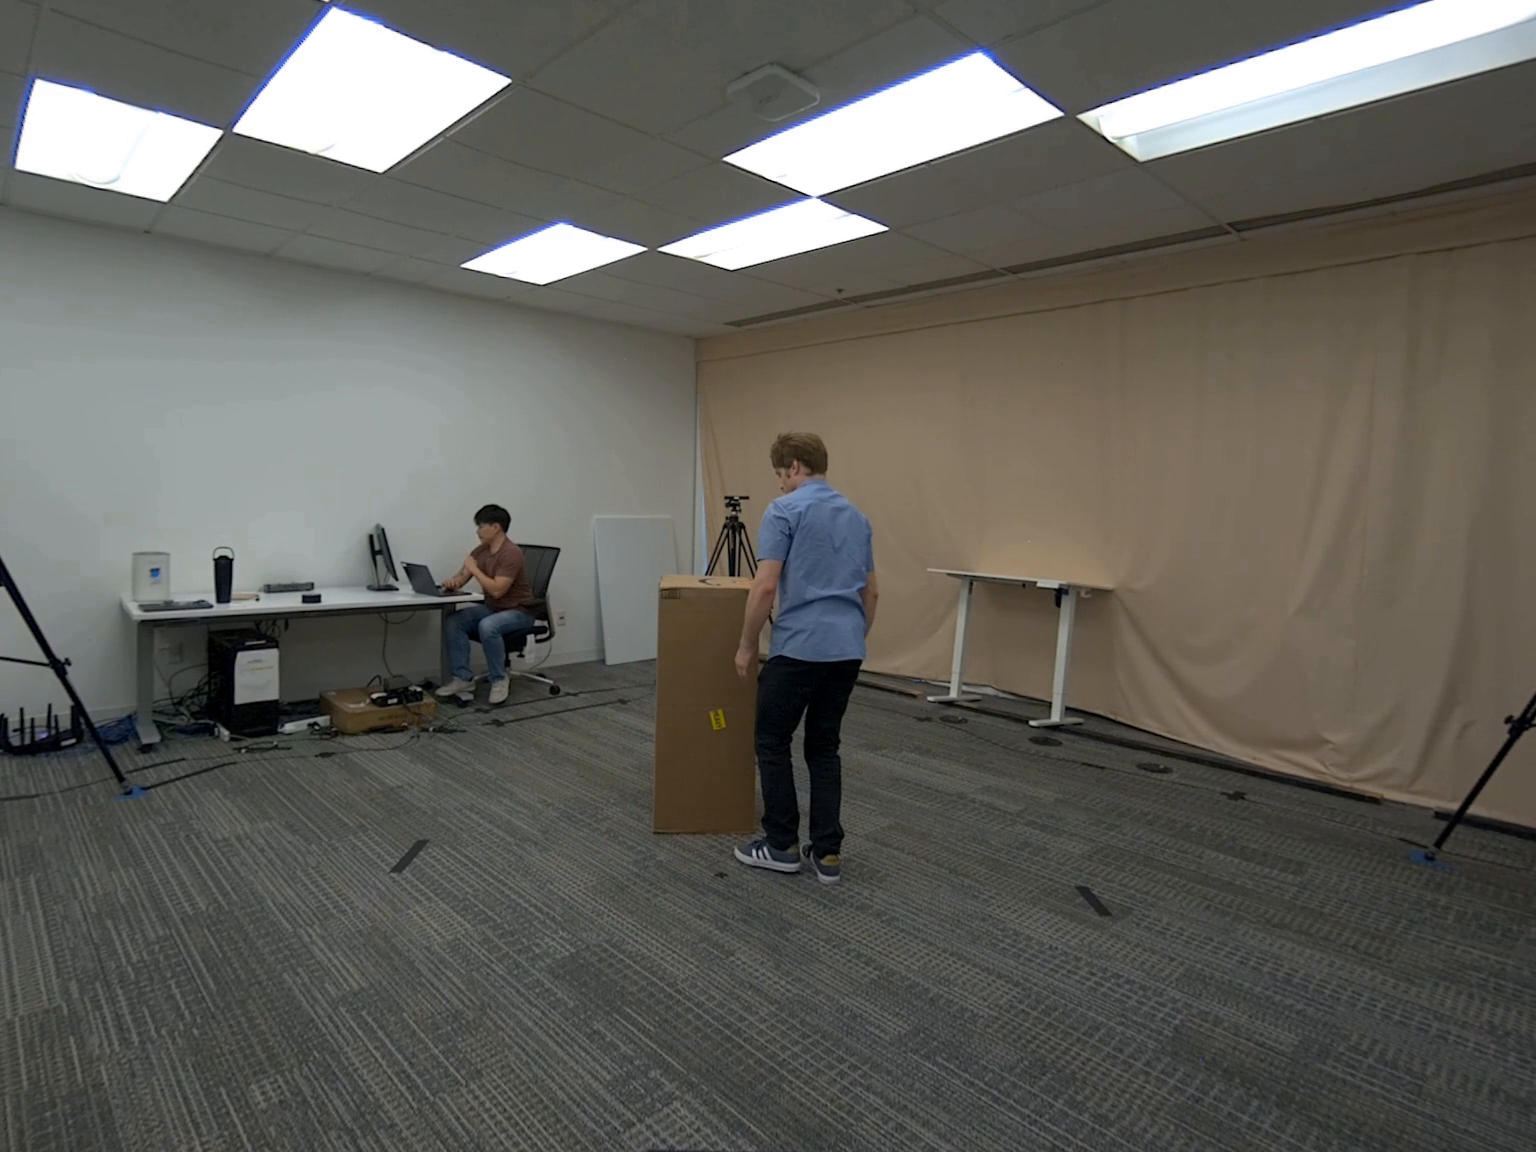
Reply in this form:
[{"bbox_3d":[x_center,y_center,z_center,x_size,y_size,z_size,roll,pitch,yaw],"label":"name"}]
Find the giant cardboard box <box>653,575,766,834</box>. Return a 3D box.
[{"bbox_3d":[-0.291,0.537,3.753,0.425,1.024,0.580,1,2,-5],"label":"giant cardboard box"}]
